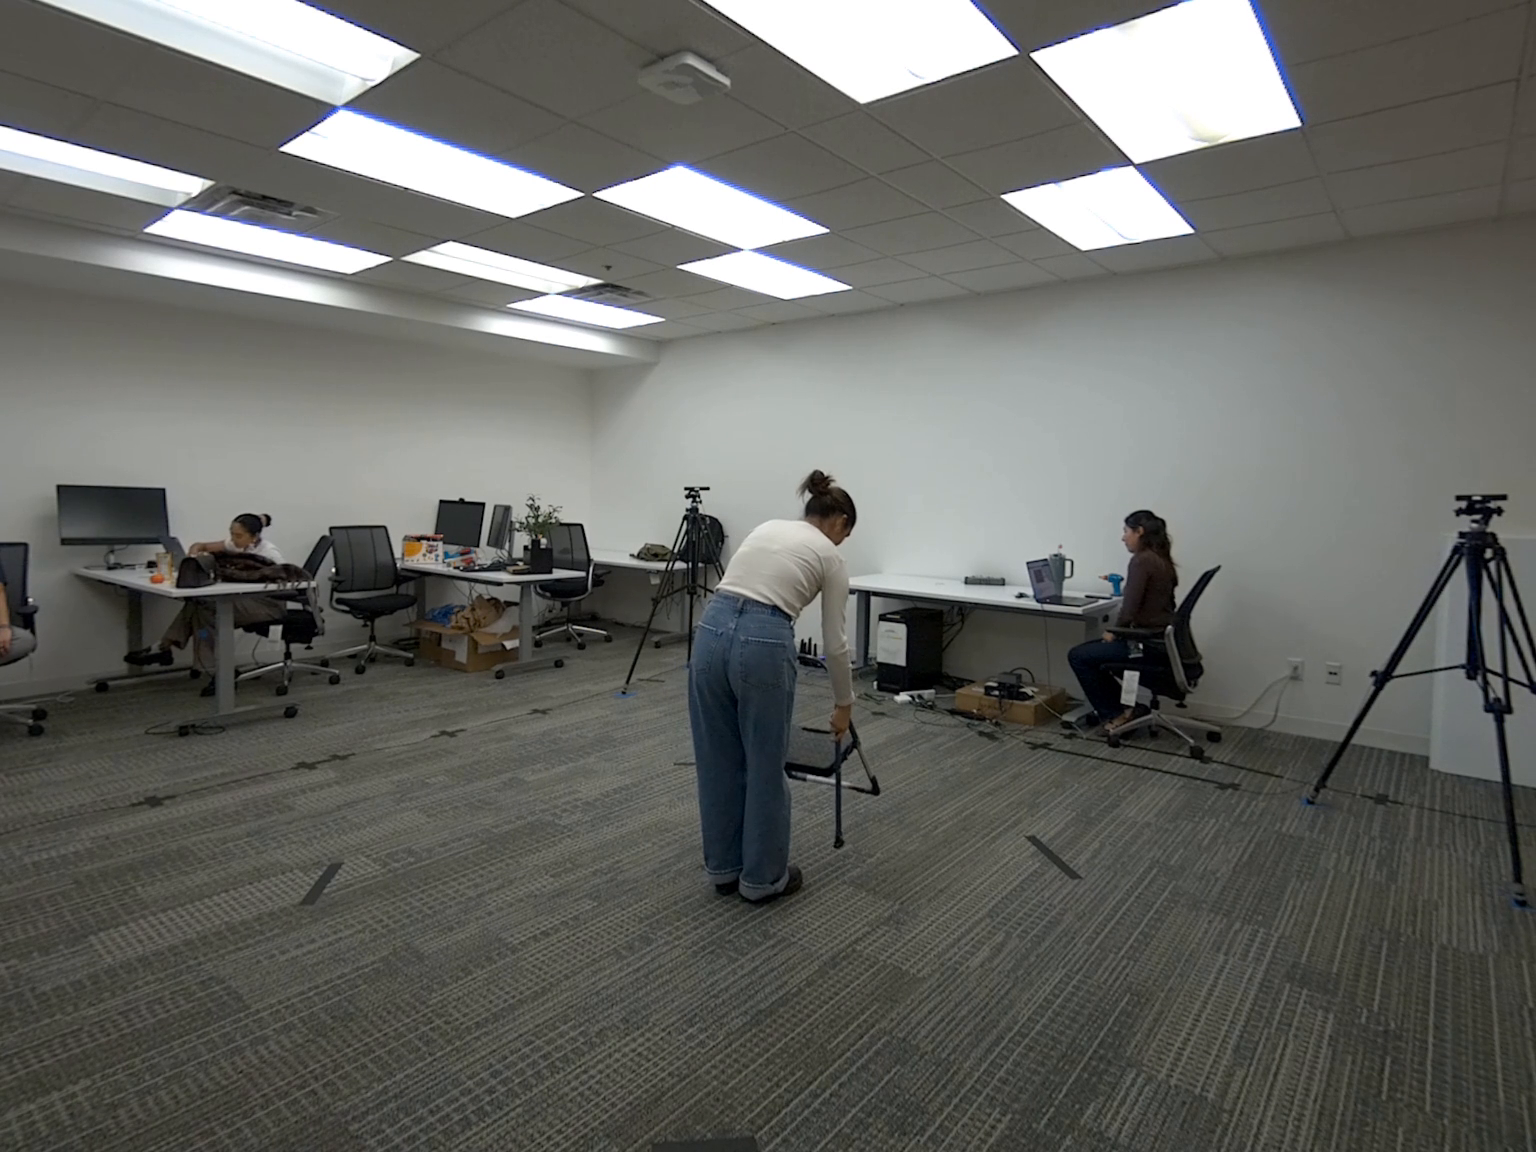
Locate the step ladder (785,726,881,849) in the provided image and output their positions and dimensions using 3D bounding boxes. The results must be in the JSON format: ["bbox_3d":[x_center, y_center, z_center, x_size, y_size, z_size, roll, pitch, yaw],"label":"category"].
[{"bbox_3d":[0.113,0.595,3.138,0.444,0.595,0.345,0,20,36],"label":"step ladder"}]
